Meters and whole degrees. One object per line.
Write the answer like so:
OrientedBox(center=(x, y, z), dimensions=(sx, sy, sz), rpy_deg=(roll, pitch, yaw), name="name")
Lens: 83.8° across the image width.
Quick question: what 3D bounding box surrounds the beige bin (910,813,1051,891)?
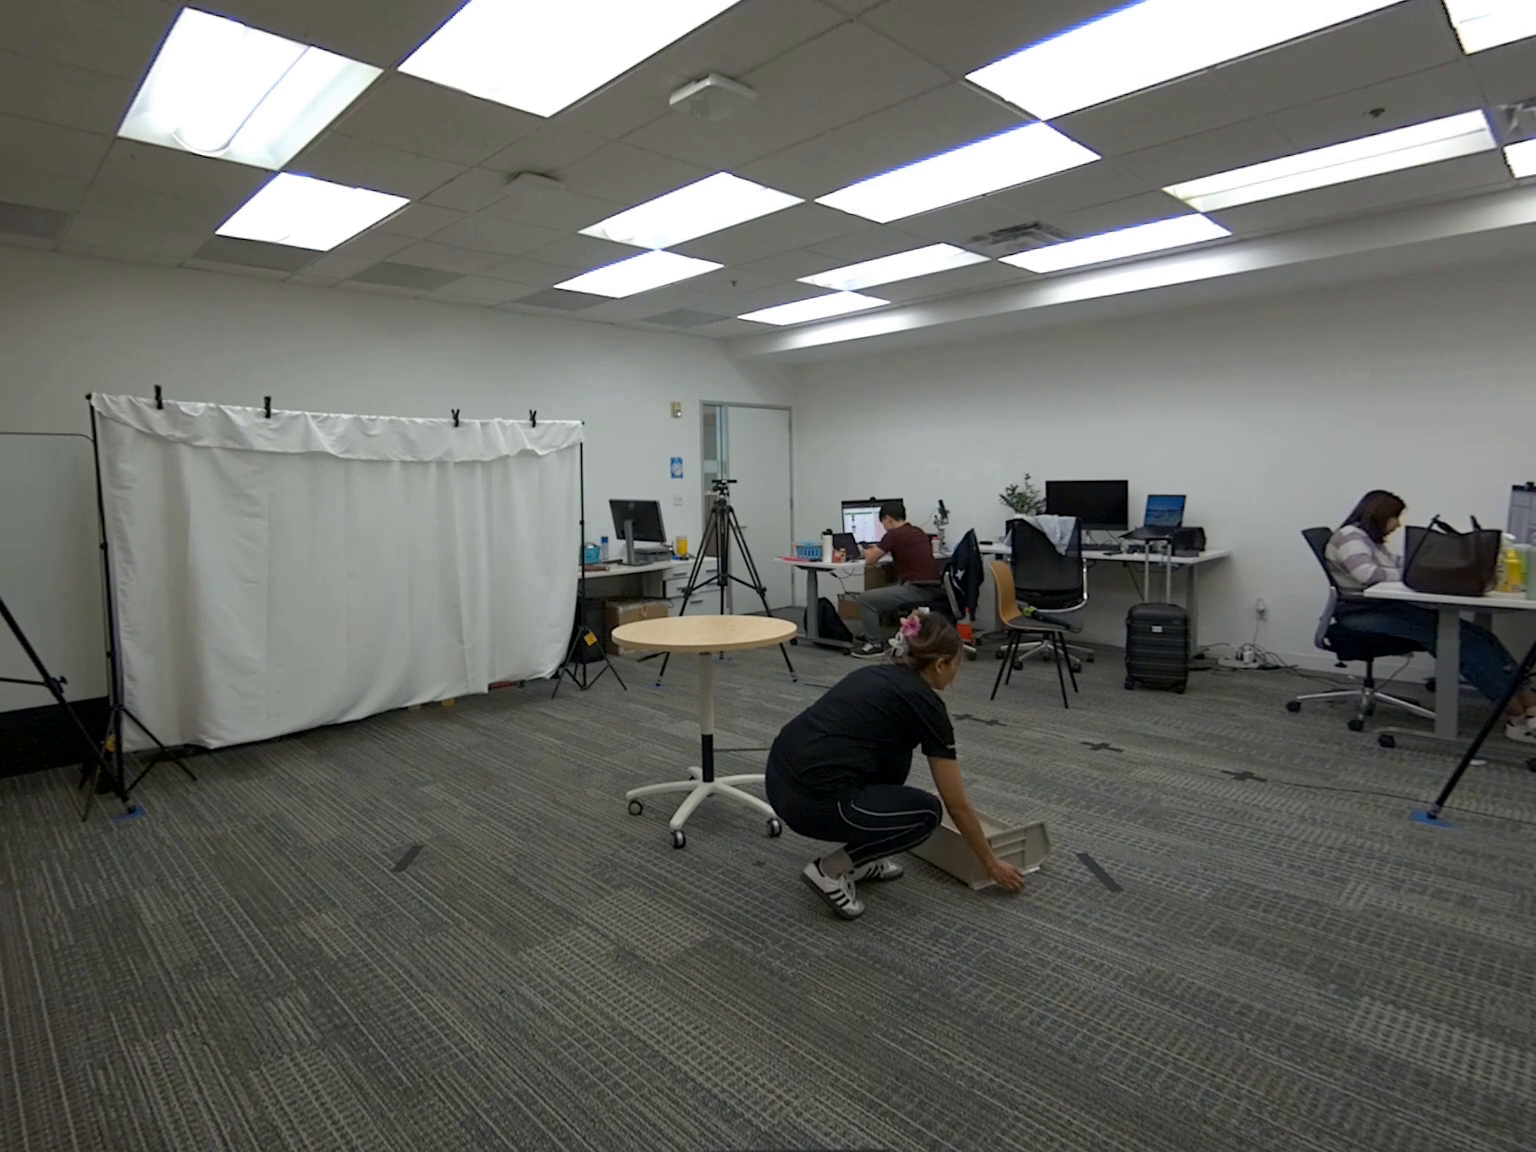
OrientedBox(center=(0.749, 0.944, 3.138), dimensions=(0.369, 0.188, 0.434), rpy_deg=(-5, 8, -29), name="beige bin")
